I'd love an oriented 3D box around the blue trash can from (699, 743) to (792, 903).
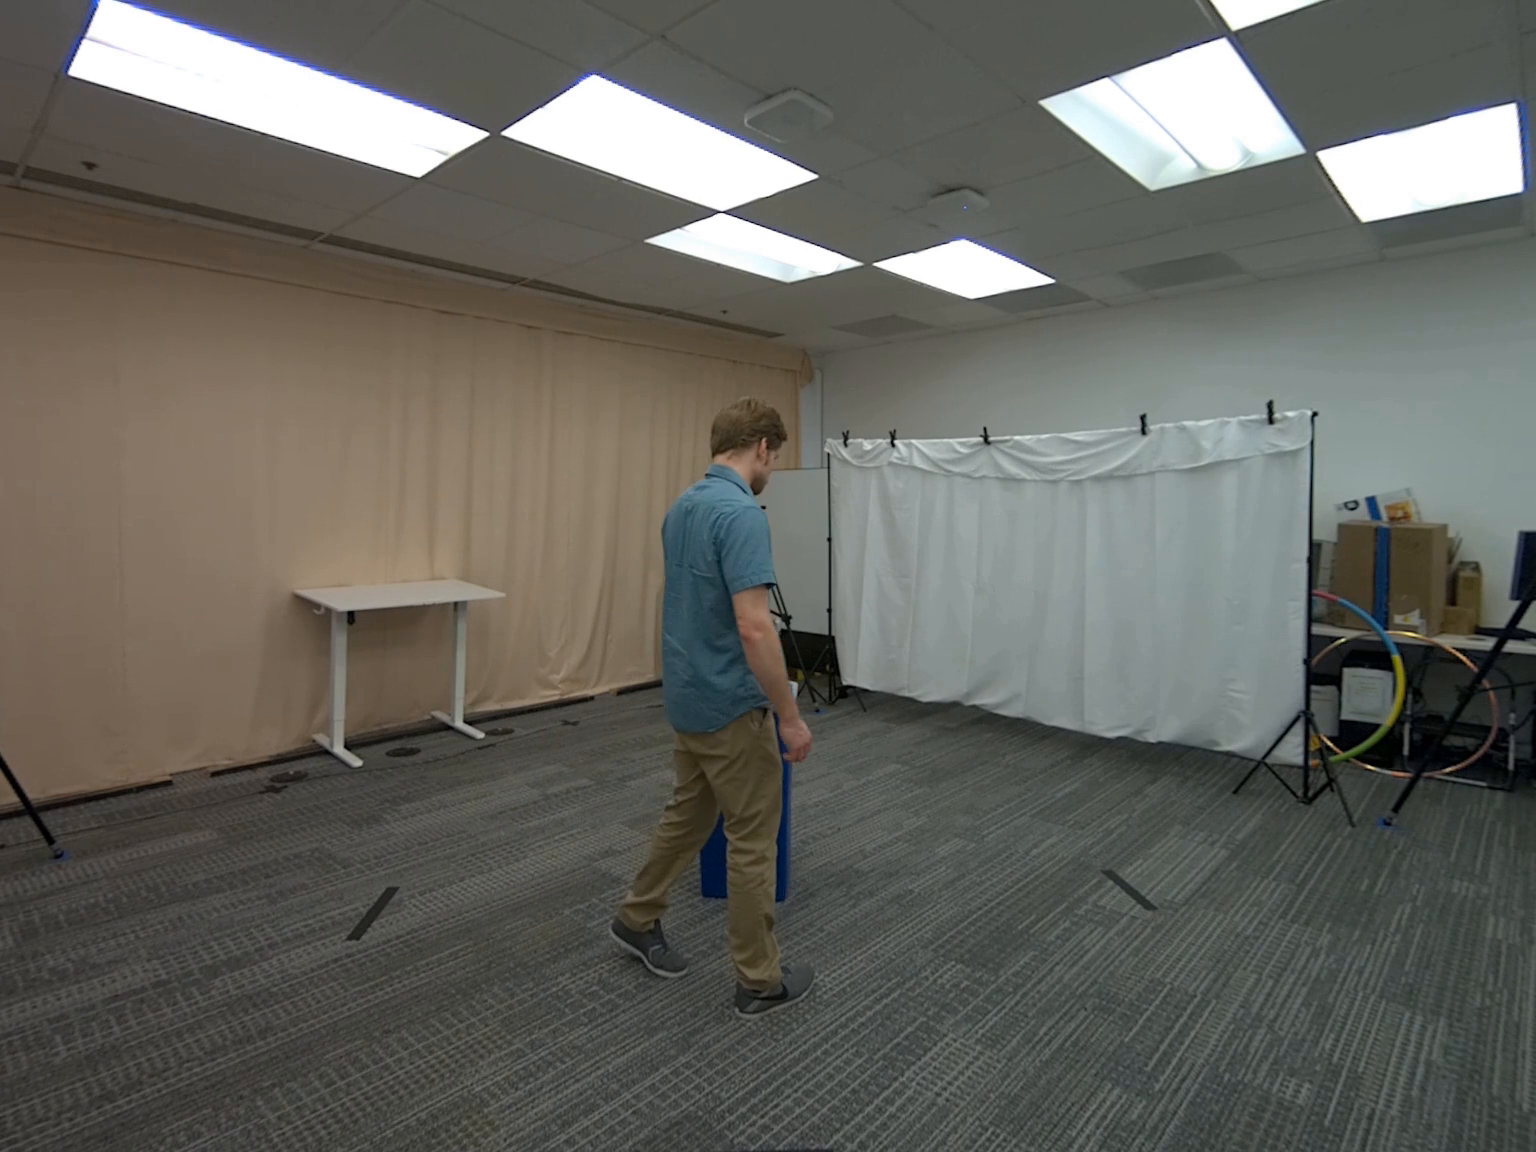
[{"bbox_3d":[-0.074,0.777,3.092,0.381,0.712,0.372,0,3,5],"label":"blue trash can"}]
